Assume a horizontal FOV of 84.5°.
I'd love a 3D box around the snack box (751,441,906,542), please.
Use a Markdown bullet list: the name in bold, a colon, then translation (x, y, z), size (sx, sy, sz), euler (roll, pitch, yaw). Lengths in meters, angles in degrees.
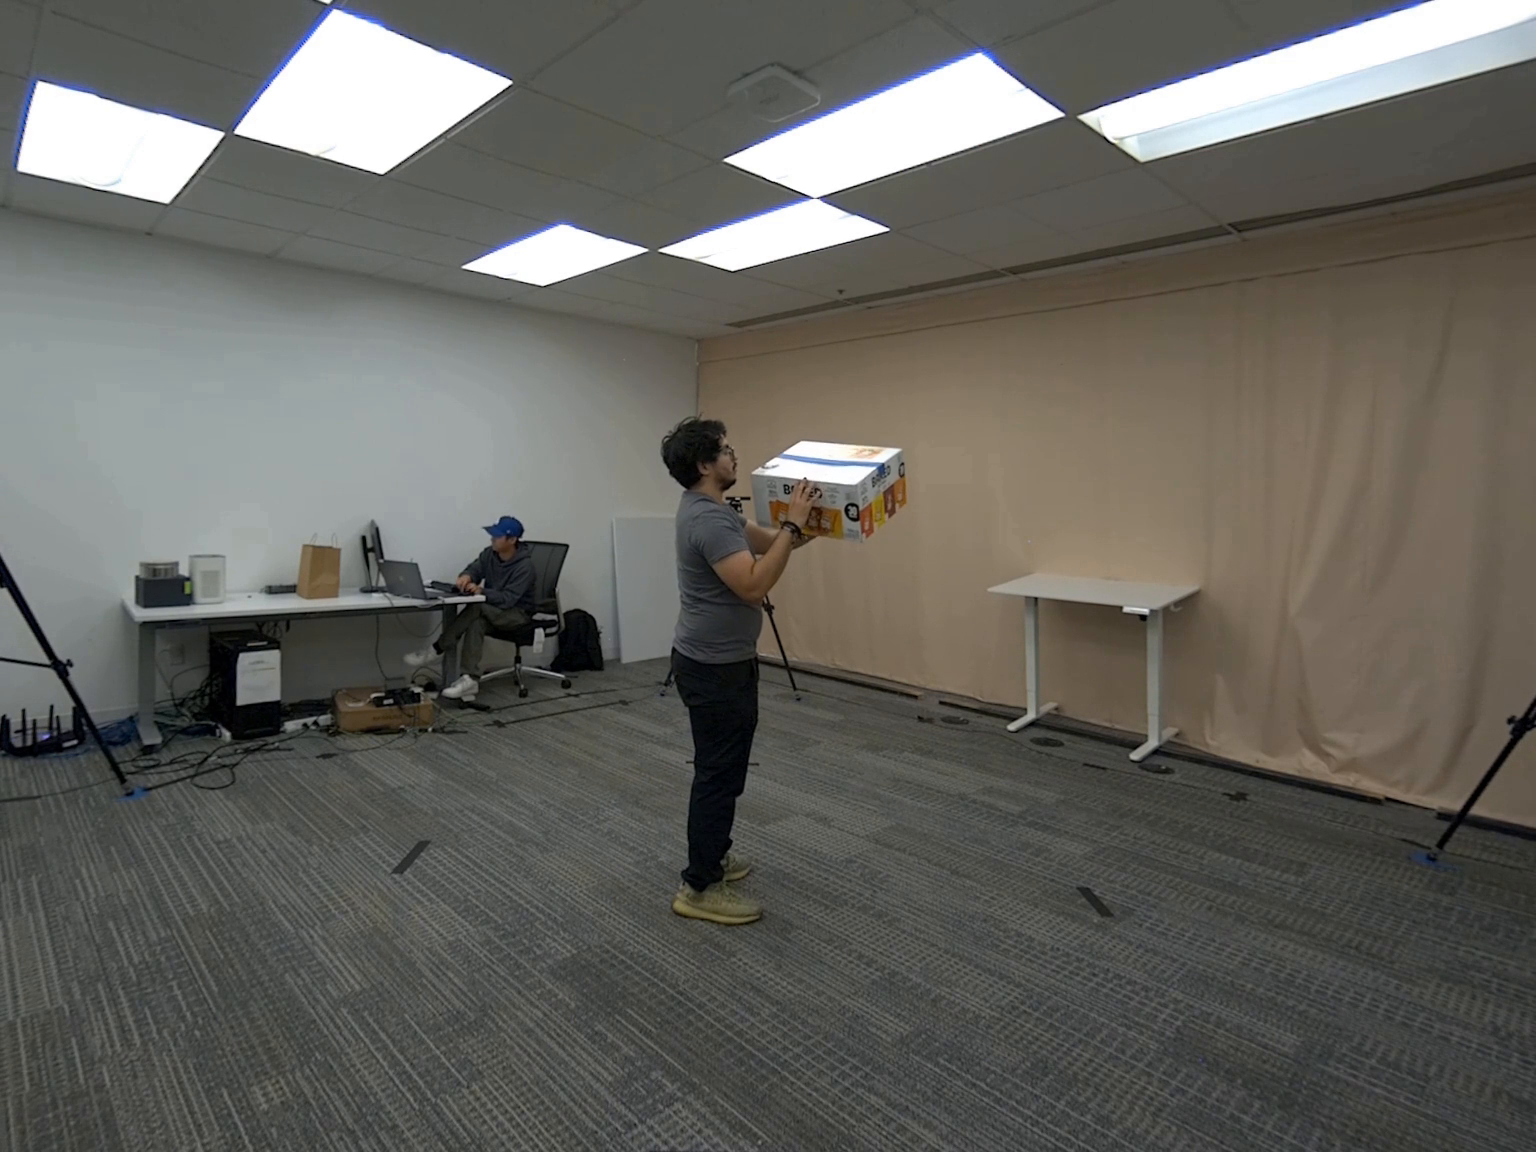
- **snack box**: translation (0.206, -0.299, 2.880), size (0.415, 0.202, 0.338), euler (10, 30, 33)
